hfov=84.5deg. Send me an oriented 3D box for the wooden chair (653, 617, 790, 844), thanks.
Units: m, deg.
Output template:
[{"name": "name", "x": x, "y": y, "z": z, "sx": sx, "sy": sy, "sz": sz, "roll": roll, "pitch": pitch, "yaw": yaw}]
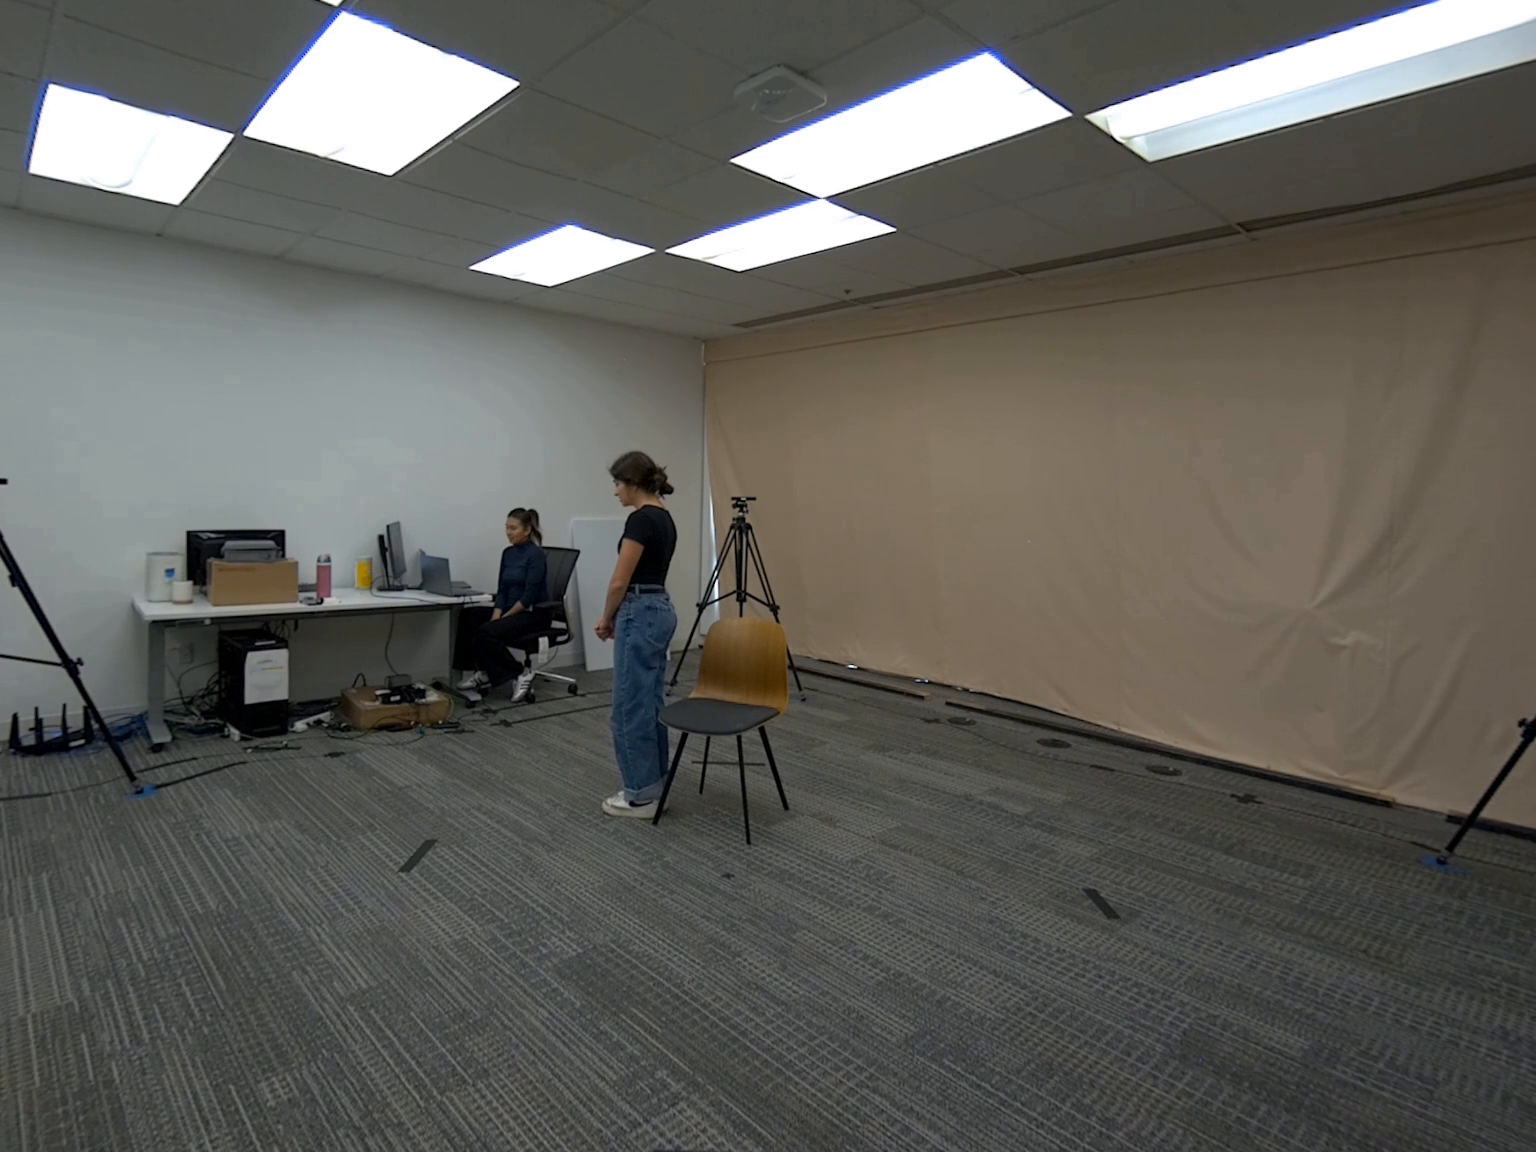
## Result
[{"name": "wooden chair", "x": -0.192, "y": 0.631, "z": 3.649, "sx": 0.487, "sy": 0.878, "sz": 0.513, "roll": 3, "pitch": -1, "yaw": 24}]
